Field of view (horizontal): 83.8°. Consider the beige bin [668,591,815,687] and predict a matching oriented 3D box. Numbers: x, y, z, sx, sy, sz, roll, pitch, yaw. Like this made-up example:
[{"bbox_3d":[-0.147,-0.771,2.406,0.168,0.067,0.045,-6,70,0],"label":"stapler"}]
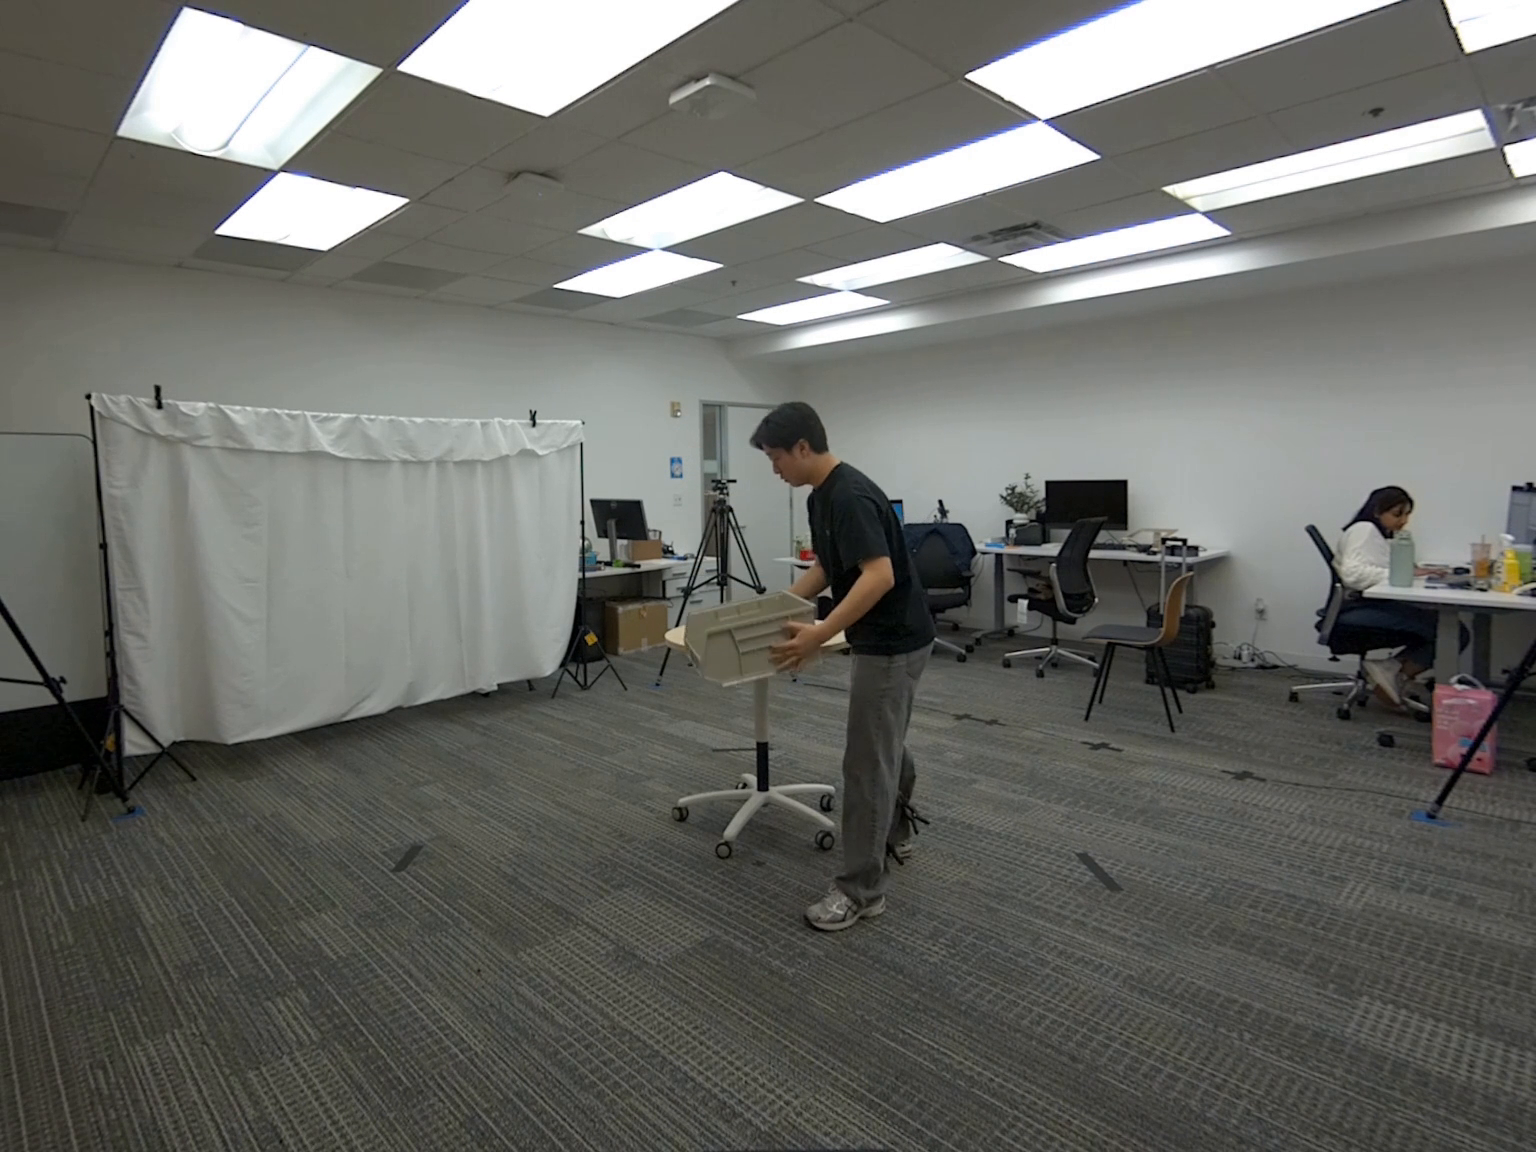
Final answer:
[{"bbox_3d":[-0.068,0.201,2.742,0.375,0.188,0.428,-12,7,-9],"label":"beige bin"}]
